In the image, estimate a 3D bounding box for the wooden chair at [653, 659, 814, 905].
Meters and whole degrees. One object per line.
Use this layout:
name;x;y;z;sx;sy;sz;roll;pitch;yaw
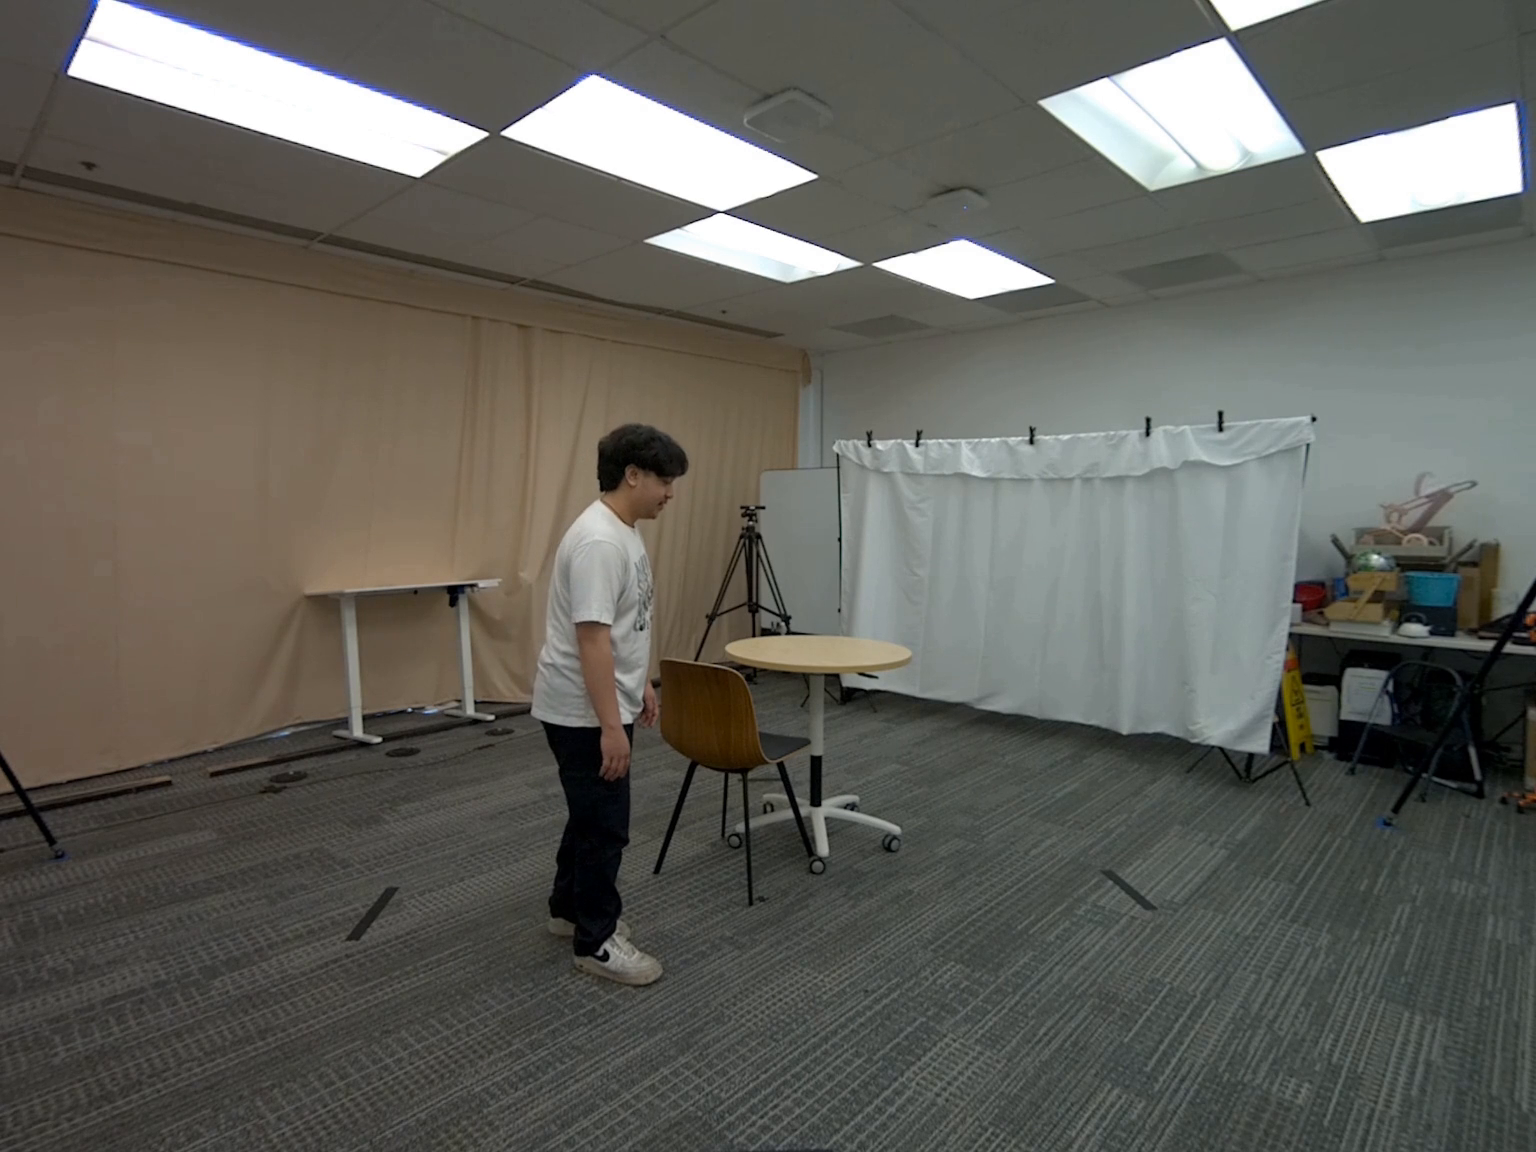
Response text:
wooden chair;-0.118;0.698;3.216;0.493;0.874;0.509;1;7;36
